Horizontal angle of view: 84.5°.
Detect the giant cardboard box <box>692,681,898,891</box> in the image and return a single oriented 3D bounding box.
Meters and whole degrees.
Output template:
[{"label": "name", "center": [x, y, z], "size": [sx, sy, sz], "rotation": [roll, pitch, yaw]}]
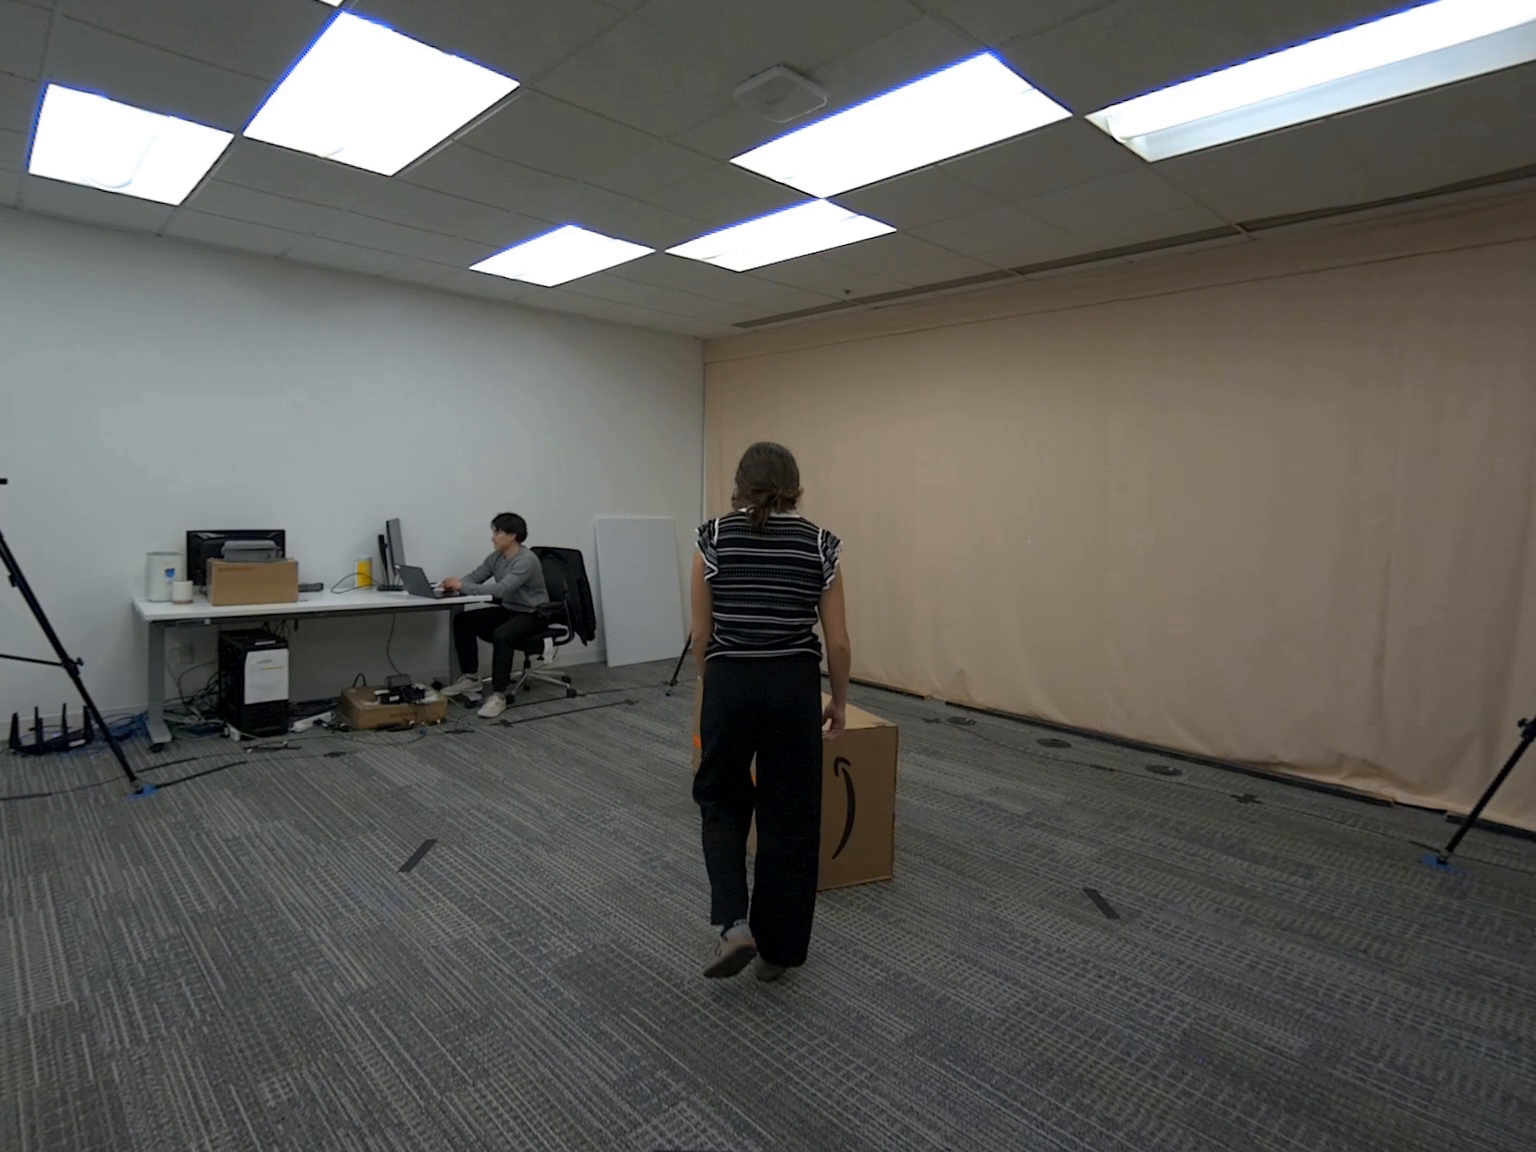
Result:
[{"label": "giant cardboard box", "center": [0.062, 0.793, 3.490], "size": [0.419, 0.576, 1.045], "rotation": [1, 4, -23]}]
